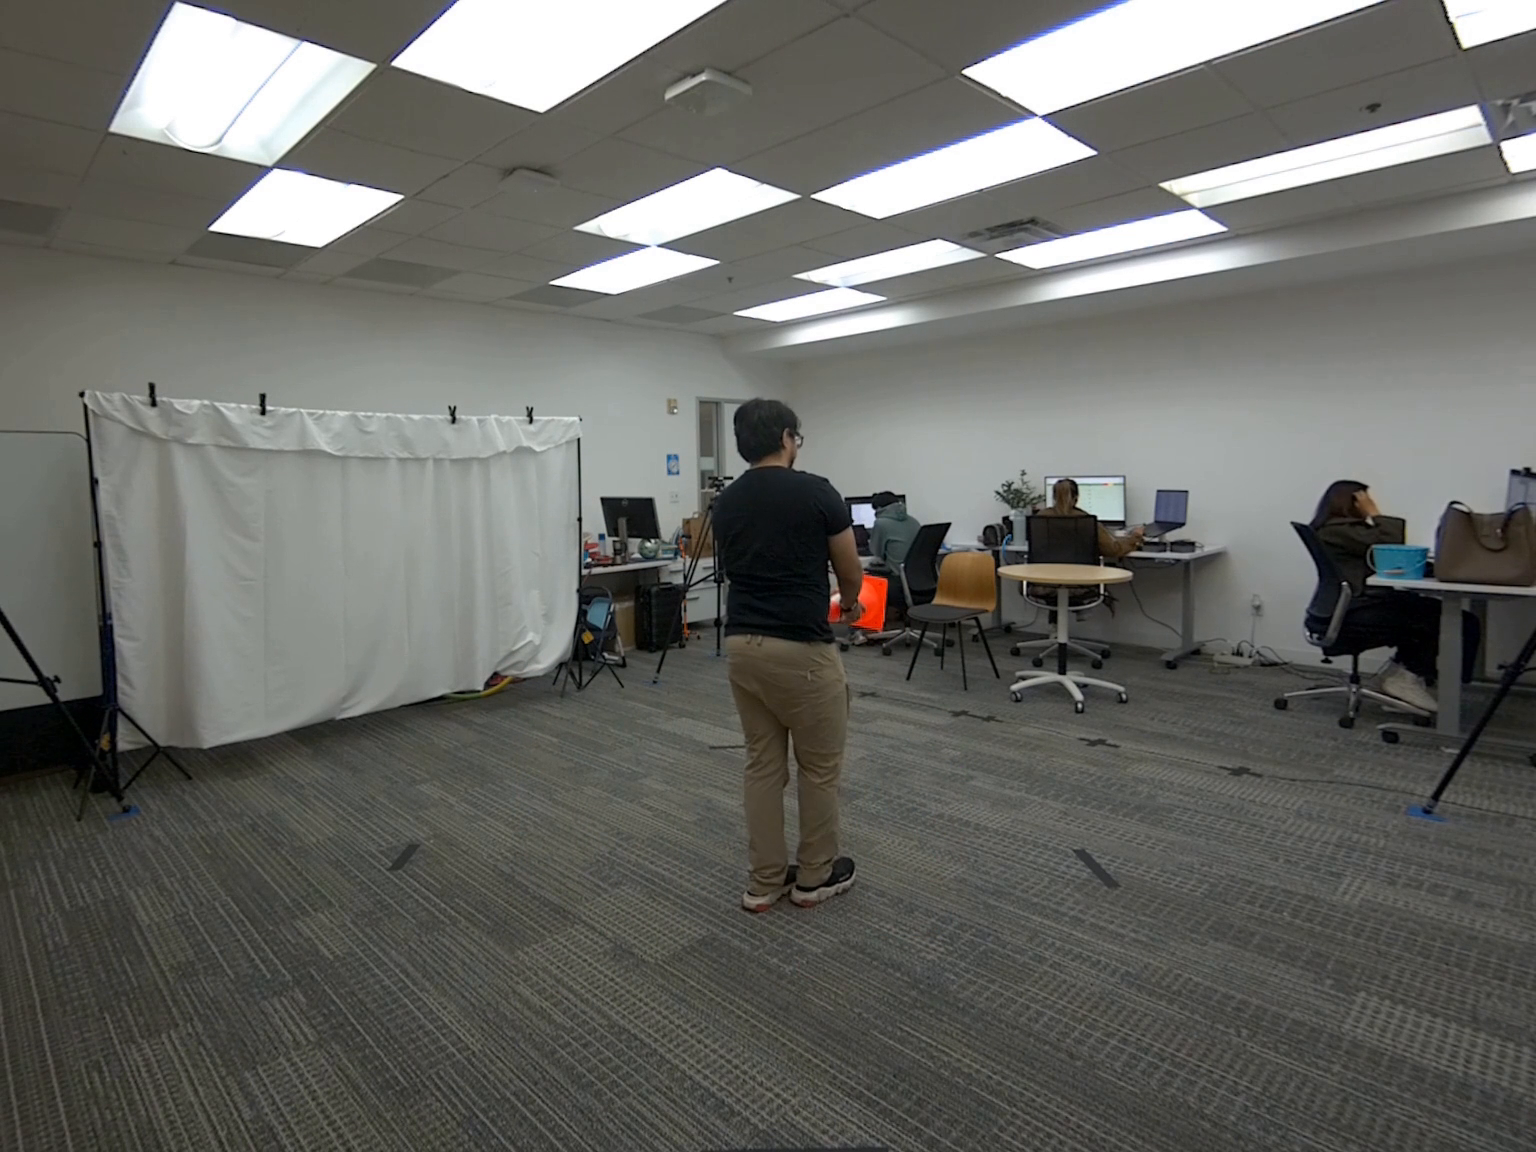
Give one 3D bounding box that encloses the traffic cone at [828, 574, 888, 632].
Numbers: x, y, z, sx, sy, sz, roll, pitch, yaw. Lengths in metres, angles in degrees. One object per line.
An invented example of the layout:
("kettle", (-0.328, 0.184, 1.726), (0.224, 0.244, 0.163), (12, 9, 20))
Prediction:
("traffic cone", (0.272, 0.114, 3.063), (0.210, 0.202, 0.376), (10, 11, 25))
